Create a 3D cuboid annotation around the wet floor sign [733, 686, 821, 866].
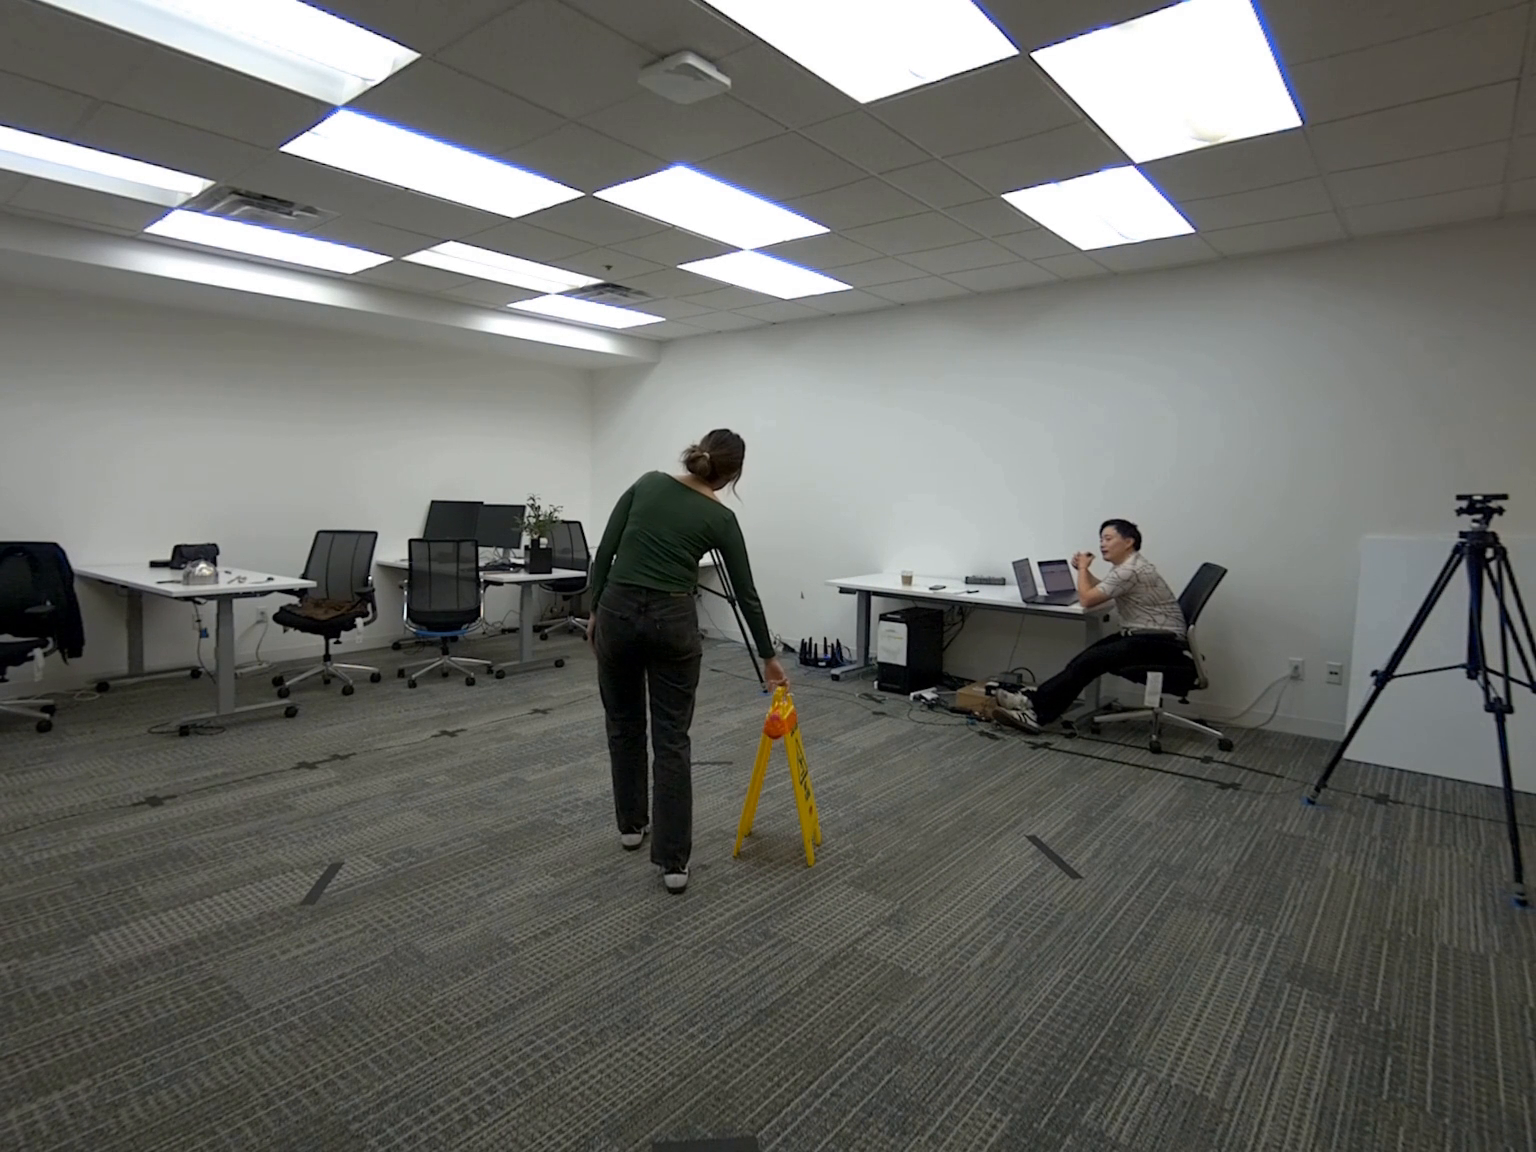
[{"bbox_3d":[0.034,0.732,3.283,0.294,0.645,0.278,1,1,14],"label":"wet floor sign"}]
